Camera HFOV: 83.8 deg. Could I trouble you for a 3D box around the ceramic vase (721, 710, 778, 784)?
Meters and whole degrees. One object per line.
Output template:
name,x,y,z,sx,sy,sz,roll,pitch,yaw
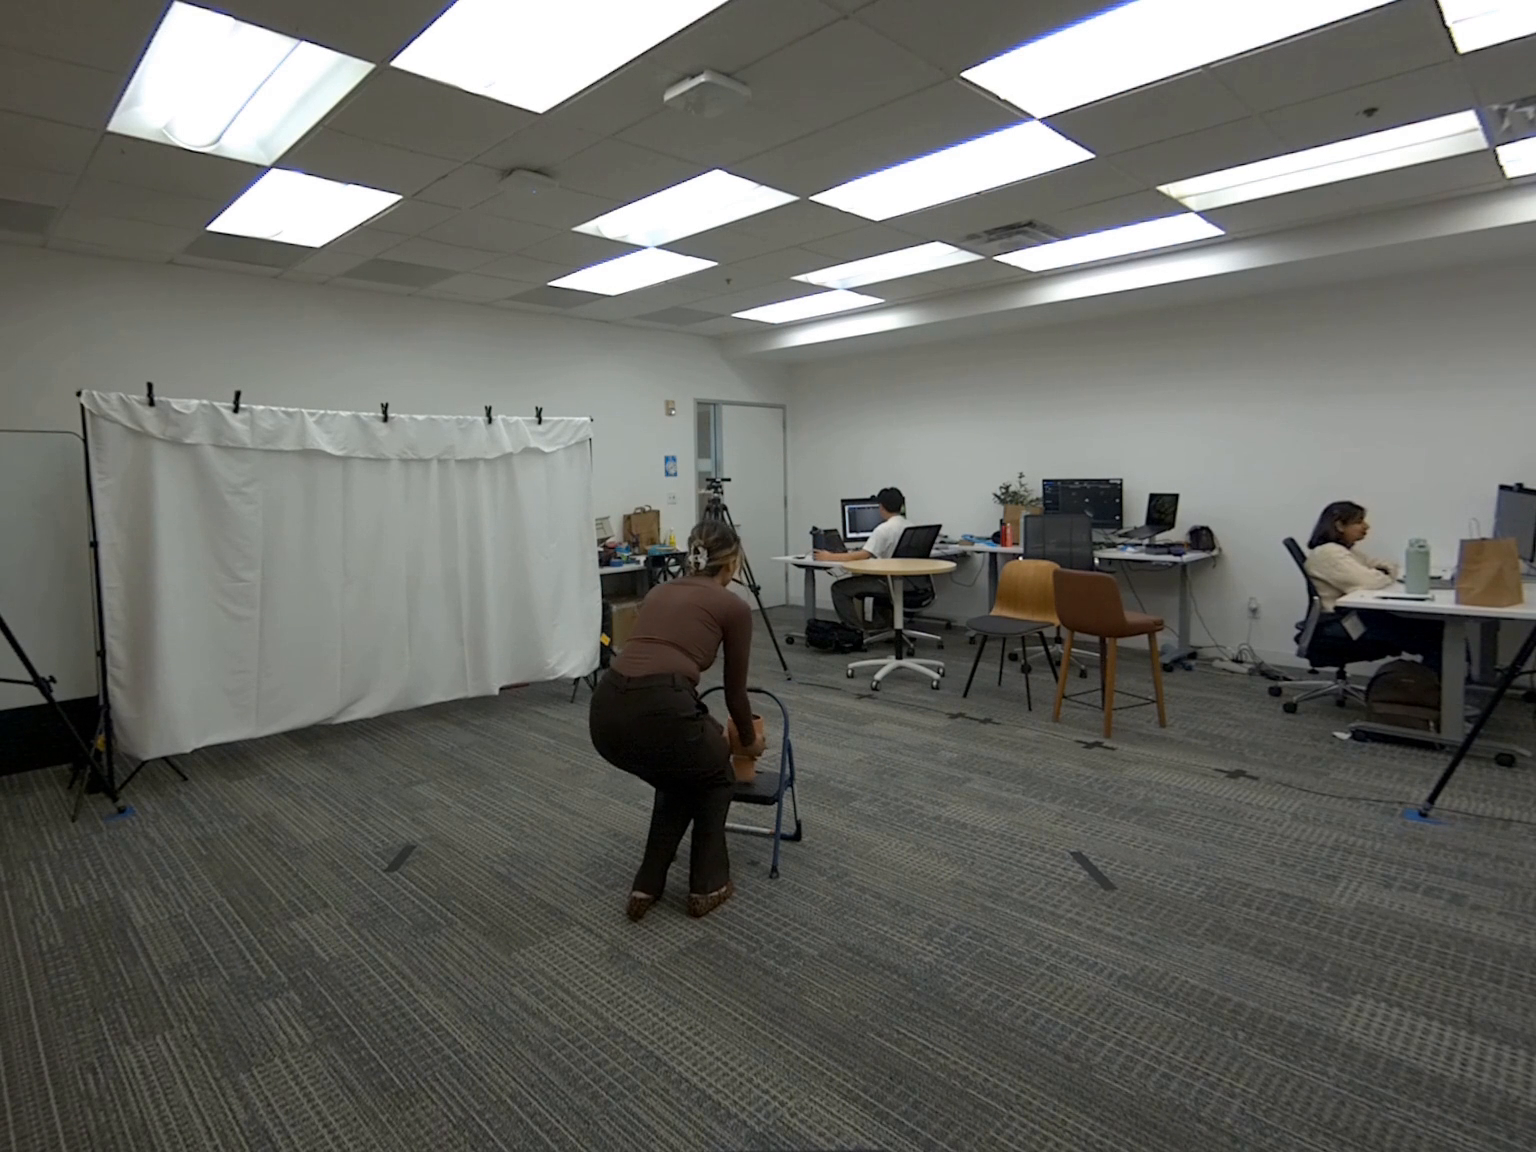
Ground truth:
ceramic vase,-0.076,0.630,3.180,0.154,0.219,0.139,1,2,-39
